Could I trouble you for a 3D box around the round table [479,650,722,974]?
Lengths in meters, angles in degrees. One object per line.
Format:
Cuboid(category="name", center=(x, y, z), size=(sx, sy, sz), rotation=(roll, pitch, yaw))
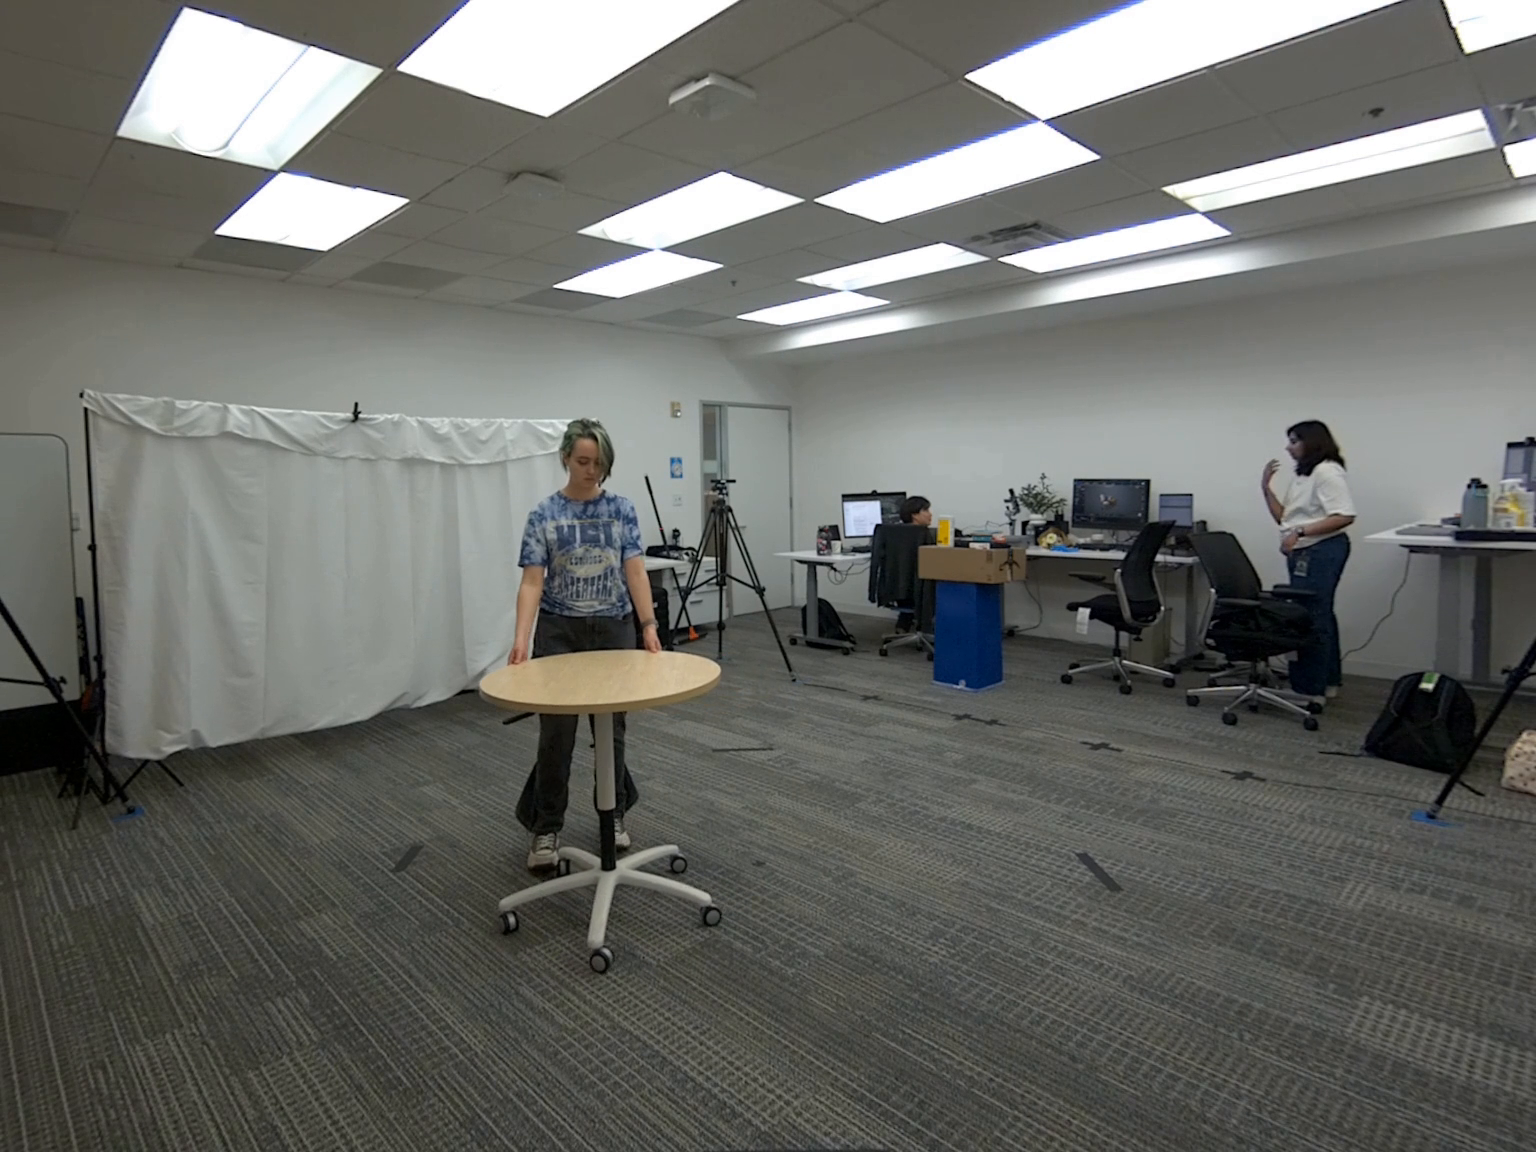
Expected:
Cuboid(category="round table", center=(-0.510, 0.707, 2.770), size=(0.763, 0.791, 0.768), rotation=(-2, 5, -2))
